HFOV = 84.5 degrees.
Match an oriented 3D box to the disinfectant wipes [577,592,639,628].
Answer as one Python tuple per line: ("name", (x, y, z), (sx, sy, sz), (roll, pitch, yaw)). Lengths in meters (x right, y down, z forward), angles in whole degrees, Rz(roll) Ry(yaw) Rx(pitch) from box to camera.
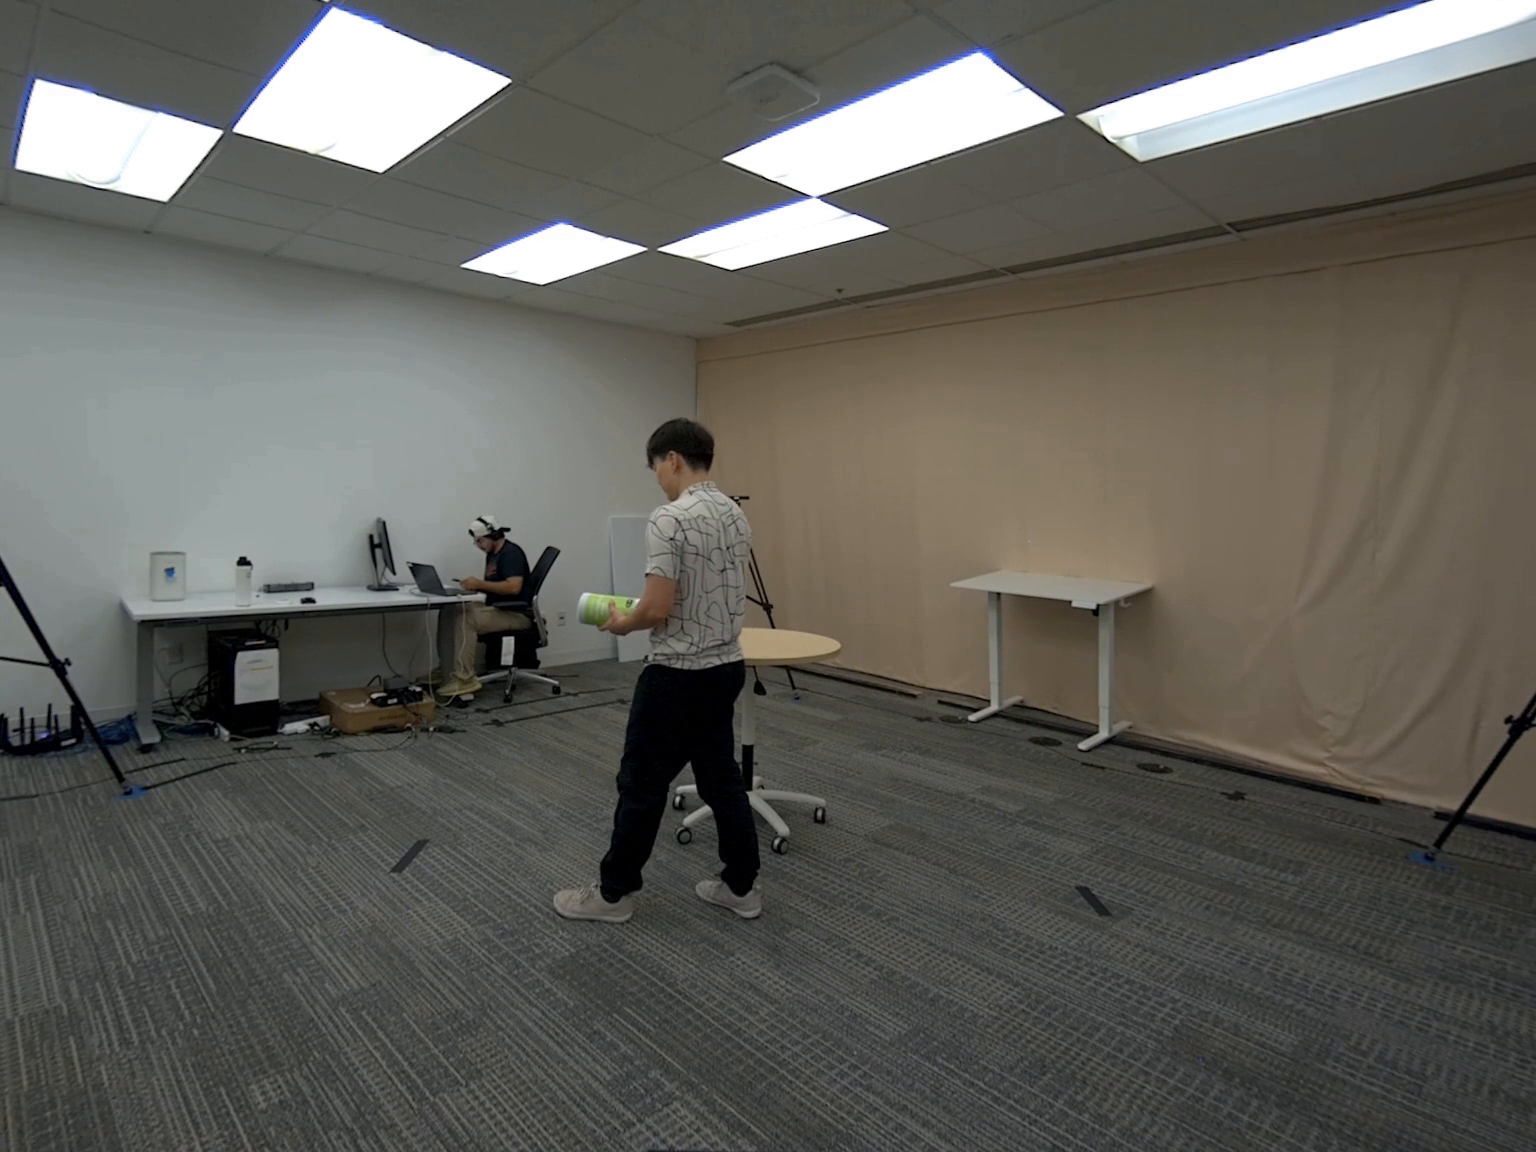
("disinfectant wipes", (-0.536, 0.115, 2.888), (0.219, 0.117, 0.117), (7, 5, 8))
